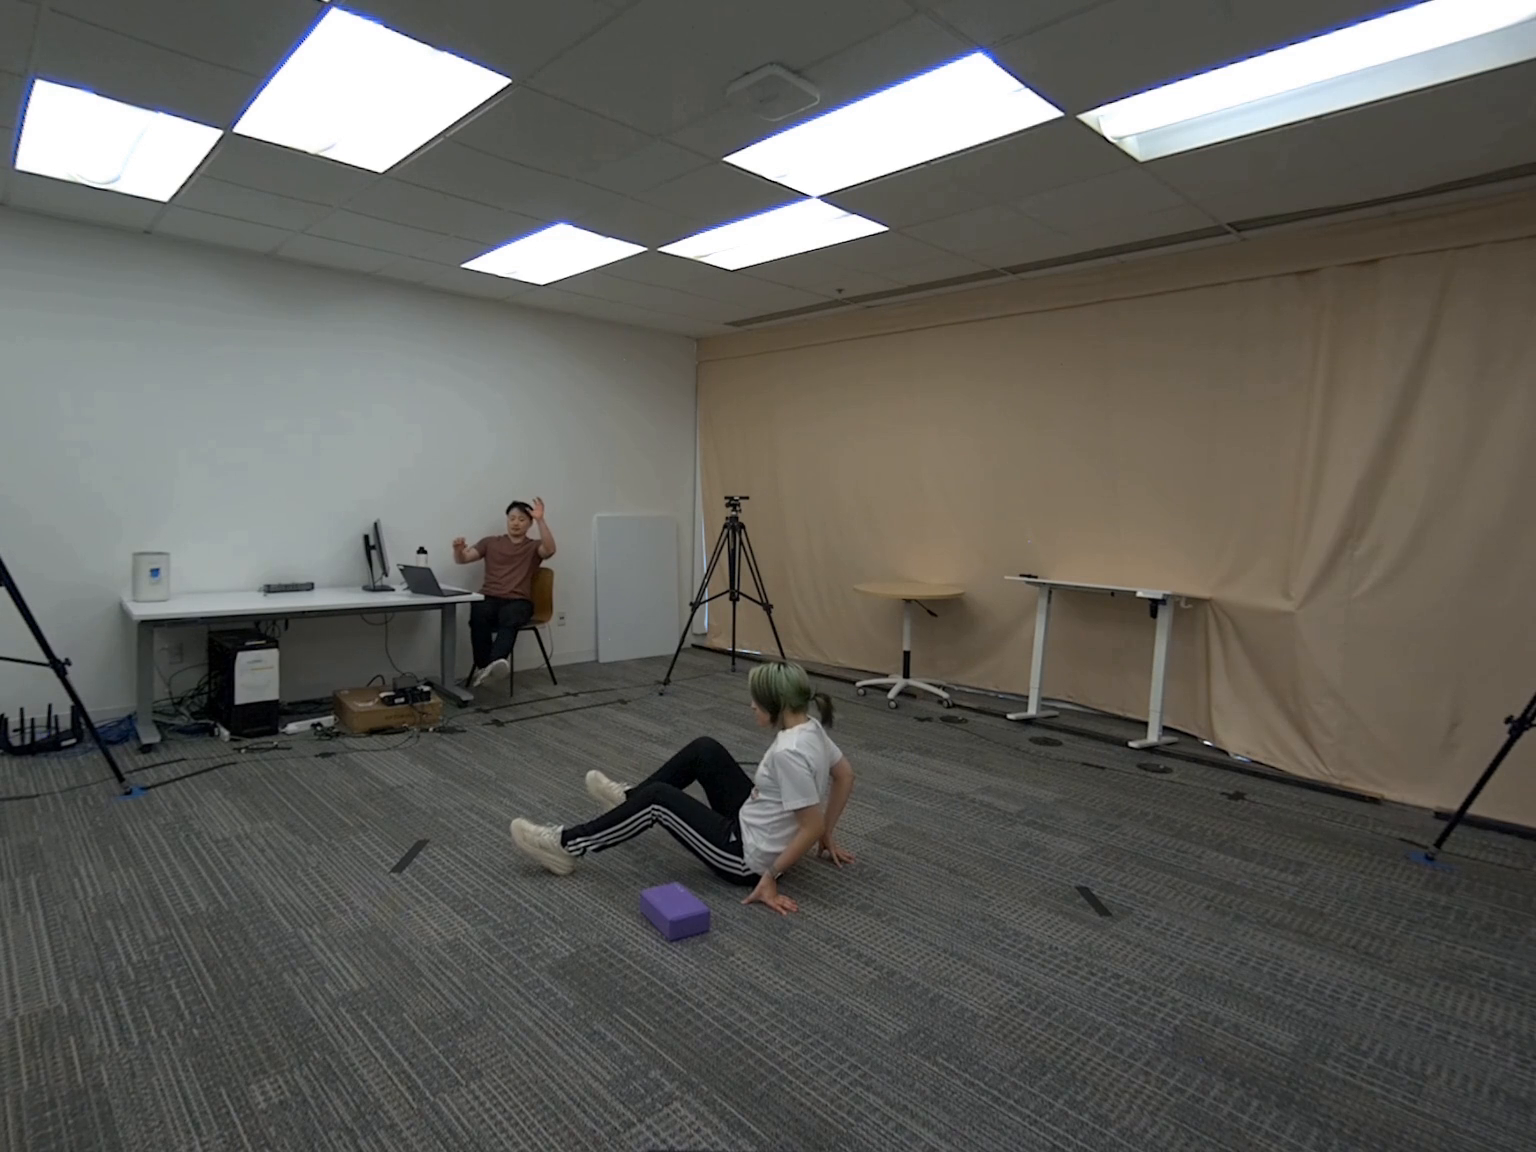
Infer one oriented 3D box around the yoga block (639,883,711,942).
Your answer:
[{"bbox_3d":[-0.319,1.095,2.748,0.146,0.076,0.235,-3,7,-32],"label":"yoga block"}]
